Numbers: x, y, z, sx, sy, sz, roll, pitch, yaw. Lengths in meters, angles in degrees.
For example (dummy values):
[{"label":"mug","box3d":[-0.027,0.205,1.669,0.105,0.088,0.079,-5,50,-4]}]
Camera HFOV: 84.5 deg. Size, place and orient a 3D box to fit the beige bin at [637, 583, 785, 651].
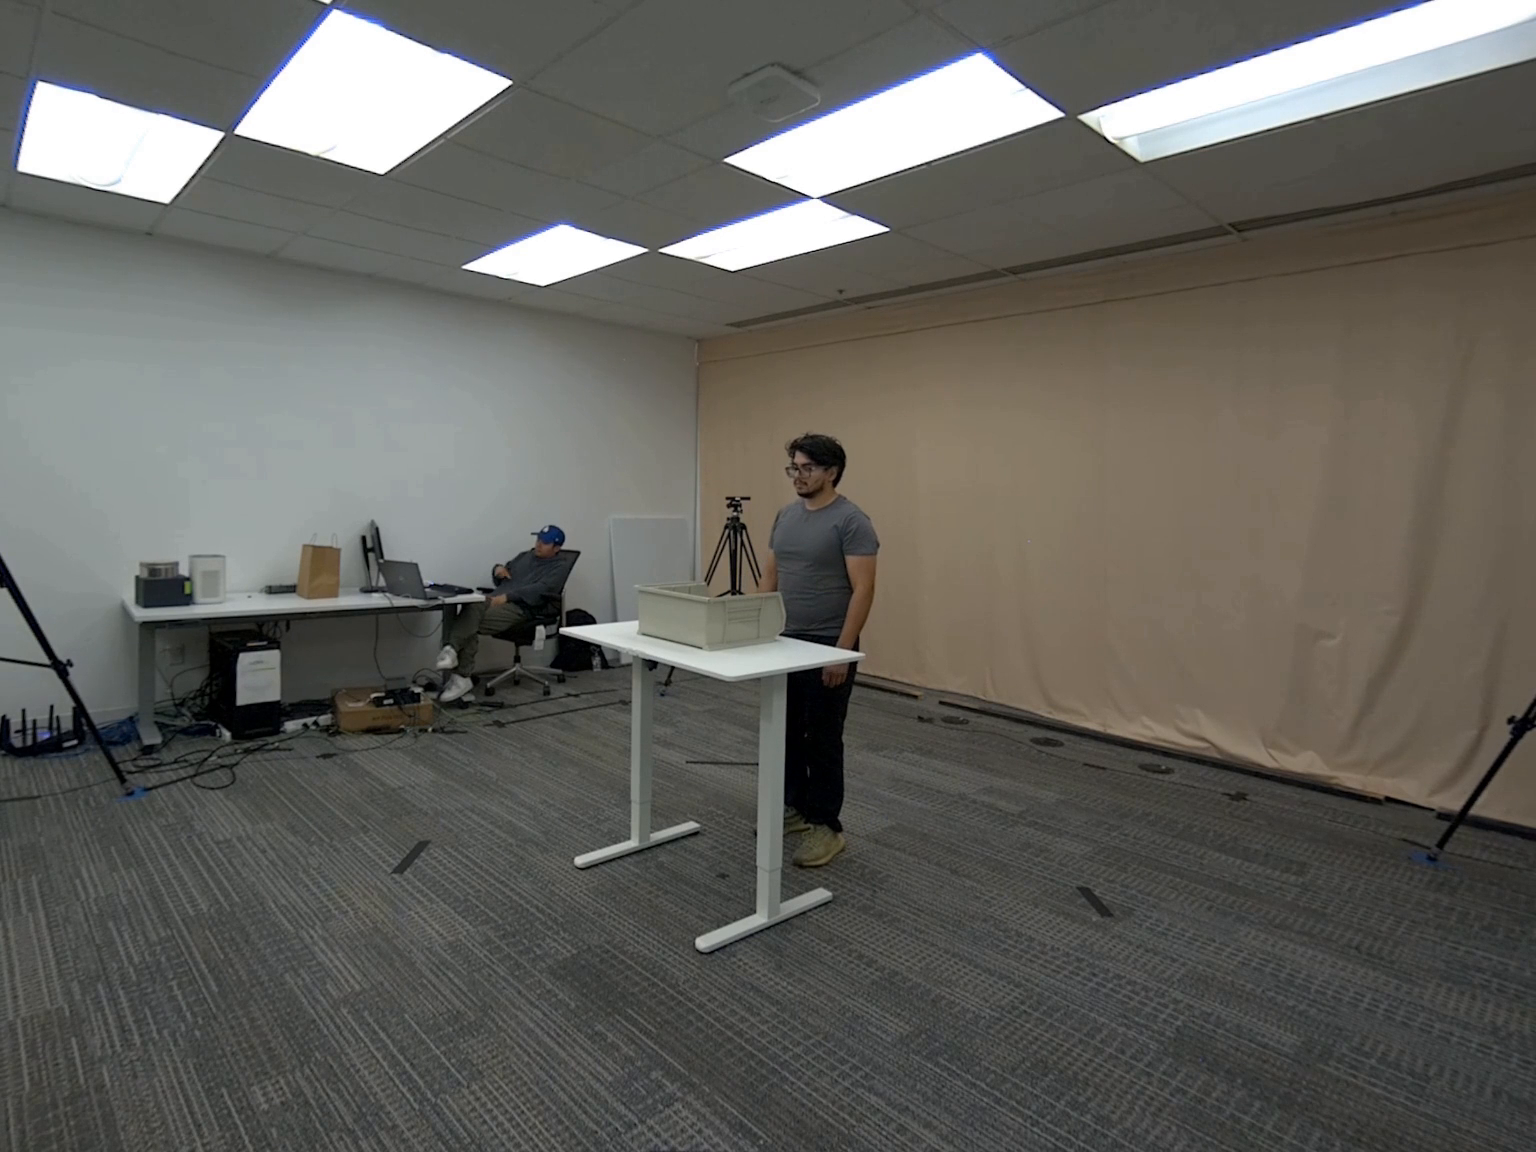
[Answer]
[{"label":"beige bin","box3d":[-0.219,0.137,3.056,0.369,0.188,0.433,-5,8,-43]}]
